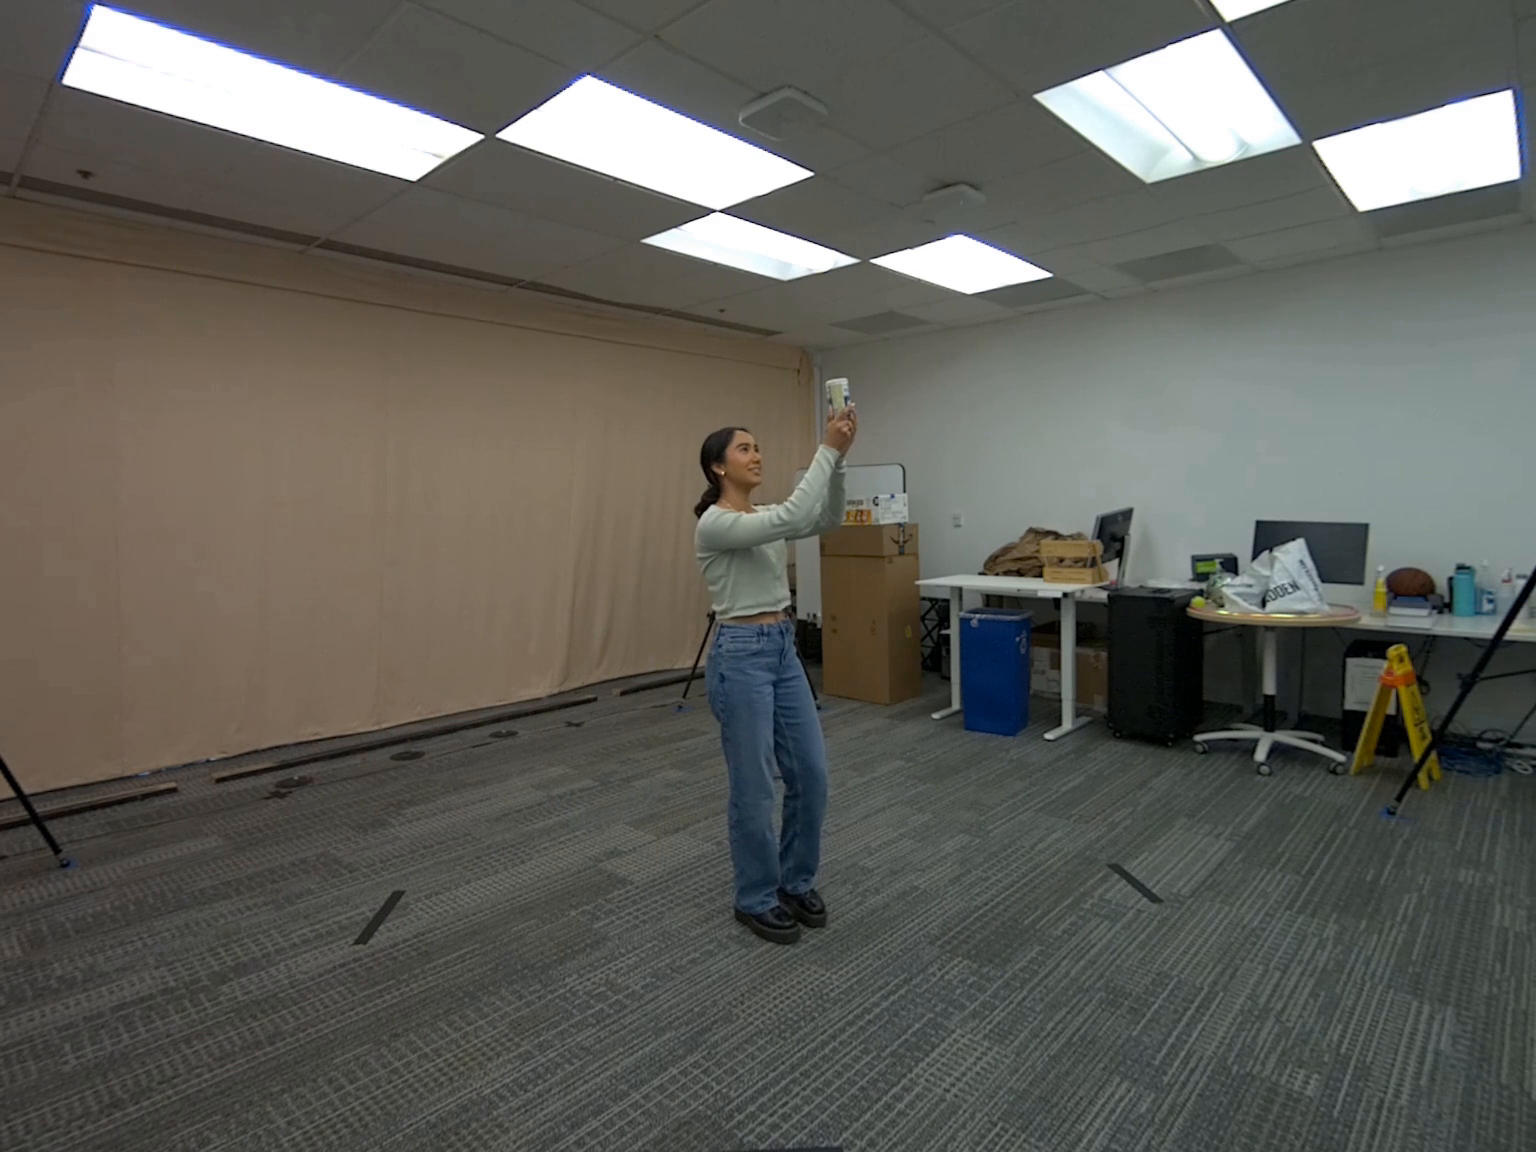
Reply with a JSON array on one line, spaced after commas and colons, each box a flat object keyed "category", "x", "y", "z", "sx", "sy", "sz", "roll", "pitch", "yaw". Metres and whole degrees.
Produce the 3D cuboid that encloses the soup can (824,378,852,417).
[{"category": "soup can", "x": 0.215, "y": -0.527, "z": 2.518, "sx": 0.067, "sy": 0.121, "sz": 0.067, "roll": -4, "pitch": 5, "yaw": -1}]
